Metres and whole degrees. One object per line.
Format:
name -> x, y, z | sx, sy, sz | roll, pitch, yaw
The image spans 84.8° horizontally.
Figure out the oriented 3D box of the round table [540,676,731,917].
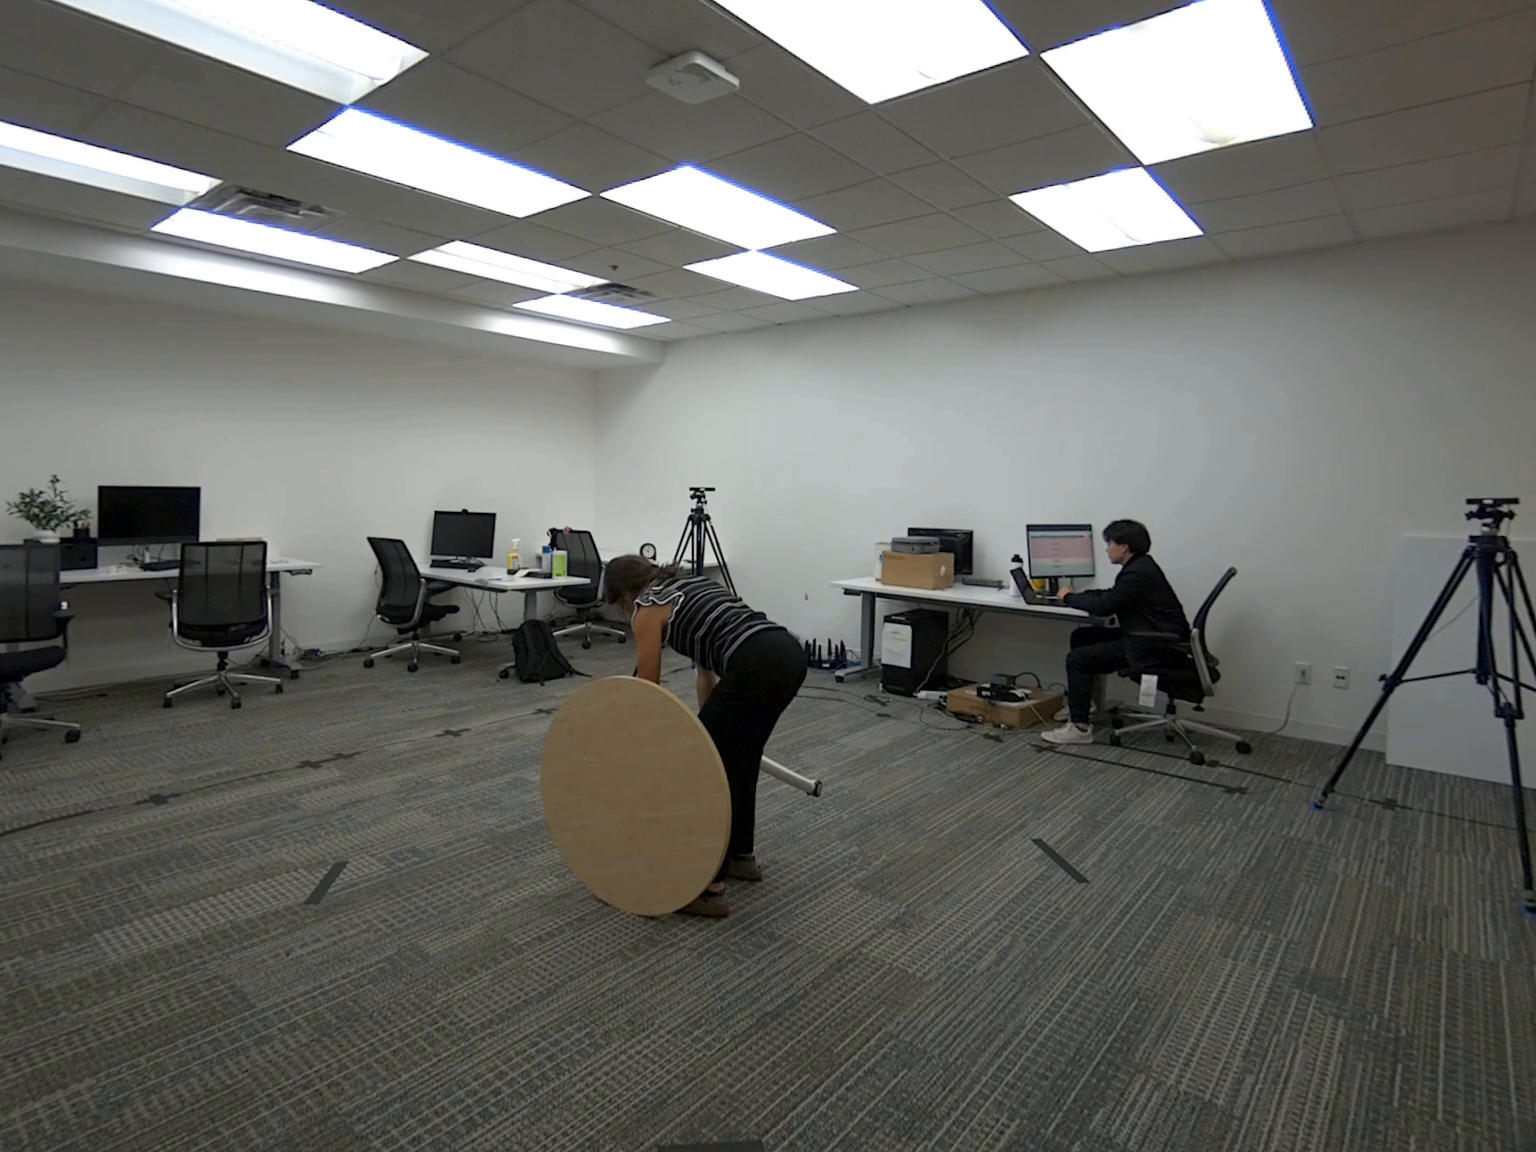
round table -> -0.280, 0.695, 3.106 | 0.787, 0.763, 0.772 | 3, 3, 31
